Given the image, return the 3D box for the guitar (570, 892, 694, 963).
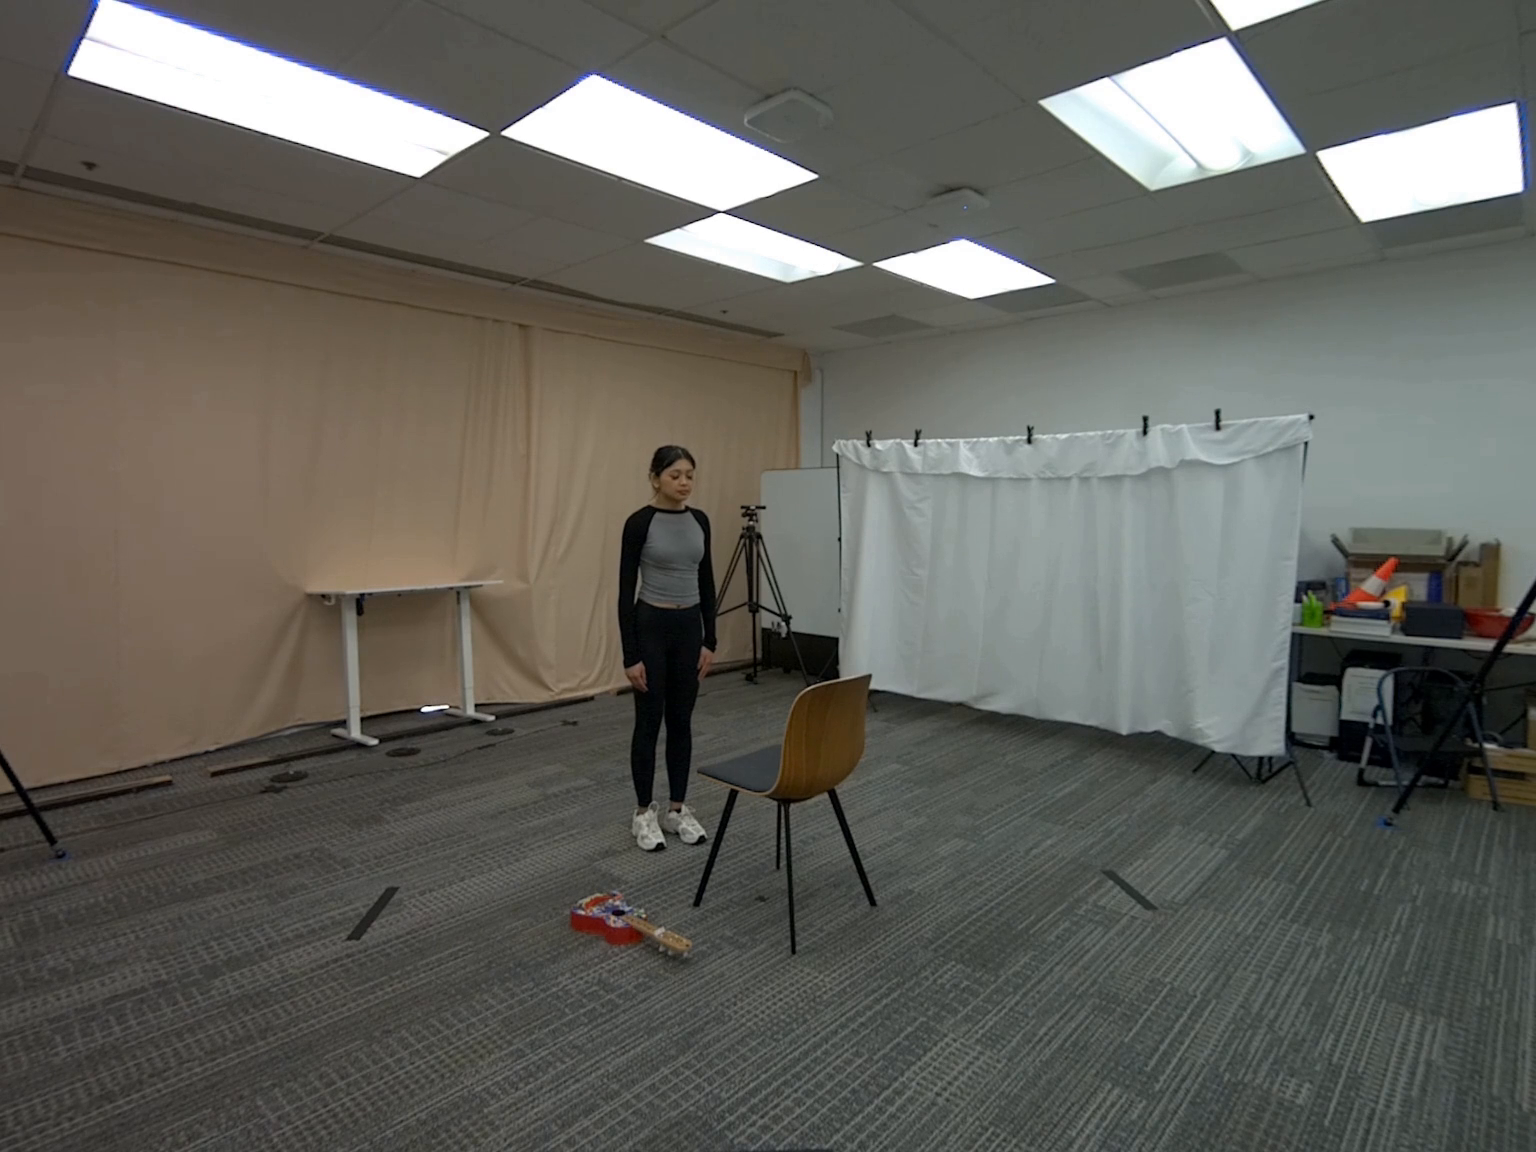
[{"bbox_3d":[-0.451,1.130,2.700,0.187,0.070,0.514,-4,5,-40],"label":"guitar"}]
